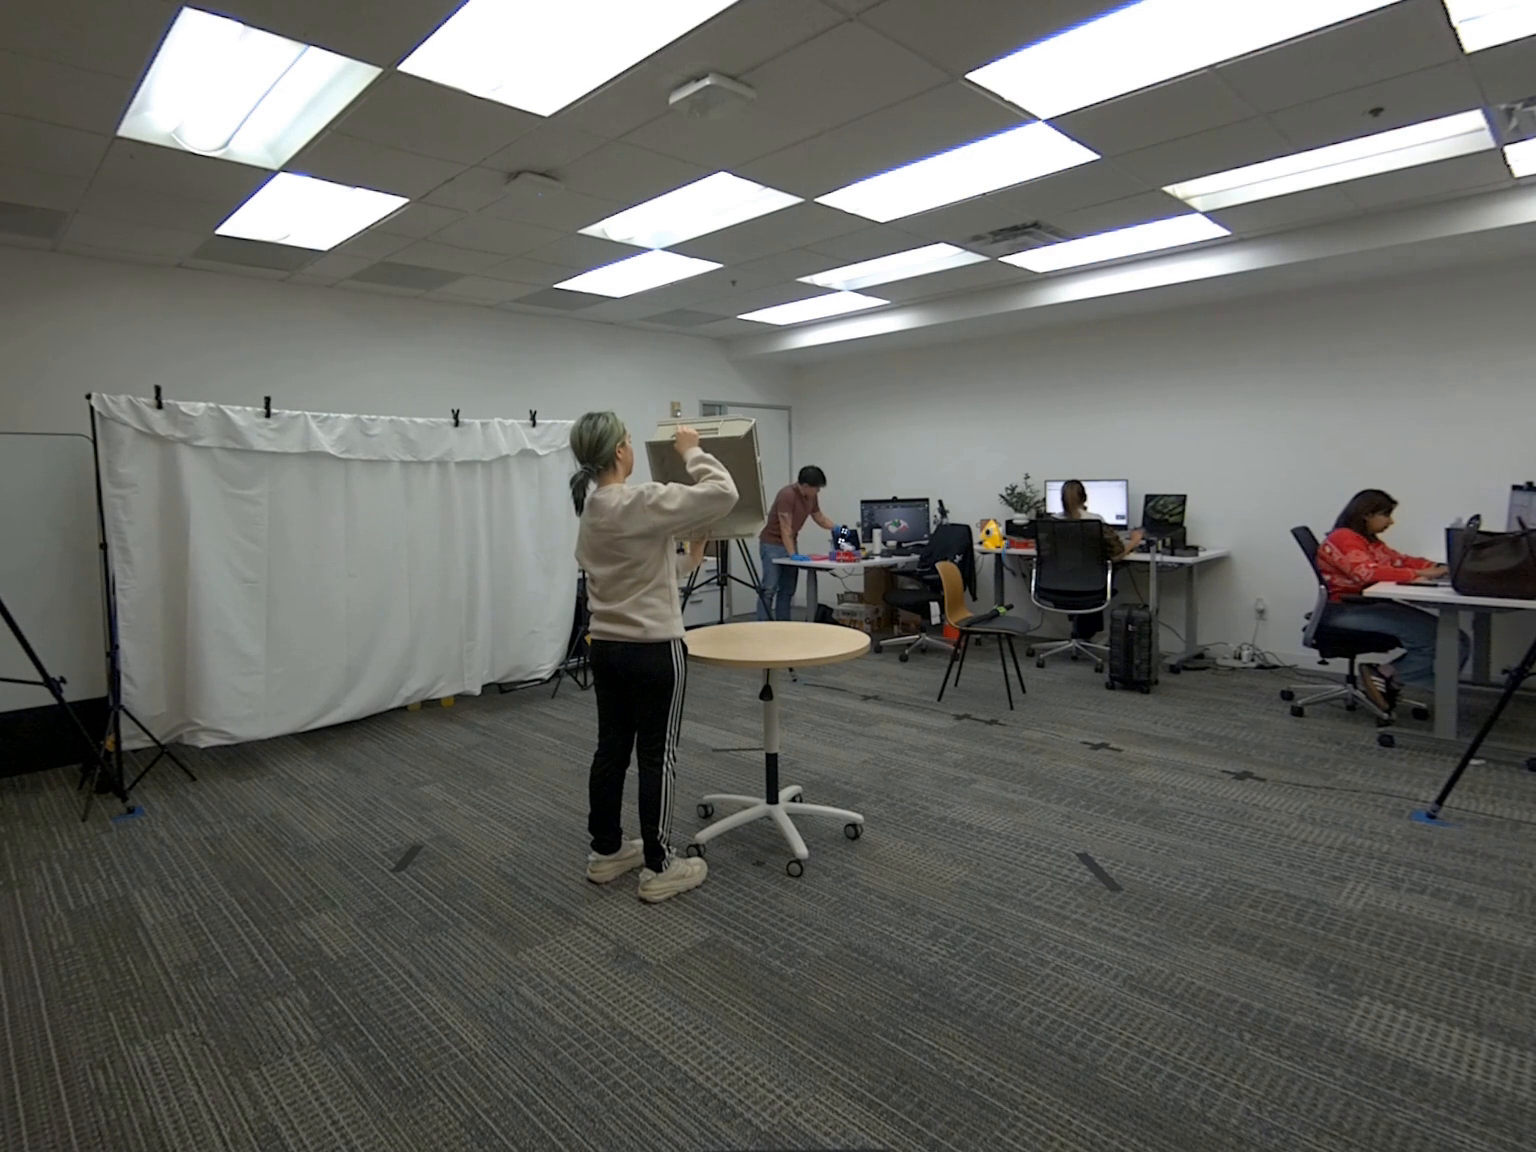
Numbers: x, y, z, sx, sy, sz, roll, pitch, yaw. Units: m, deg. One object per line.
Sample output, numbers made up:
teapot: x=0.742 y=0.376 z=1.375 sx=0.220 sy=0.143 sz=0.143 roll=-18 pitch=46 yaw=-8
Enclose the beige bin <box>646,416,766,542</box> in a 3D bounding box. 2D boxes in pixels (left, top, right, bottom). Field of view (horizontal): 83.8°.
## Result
beige bin: x=-0.216 y=-0.346 z=3.104 sx=0.382 sy=0.411 sz=0.192 roll=-1 pitch=32 yaw=11
